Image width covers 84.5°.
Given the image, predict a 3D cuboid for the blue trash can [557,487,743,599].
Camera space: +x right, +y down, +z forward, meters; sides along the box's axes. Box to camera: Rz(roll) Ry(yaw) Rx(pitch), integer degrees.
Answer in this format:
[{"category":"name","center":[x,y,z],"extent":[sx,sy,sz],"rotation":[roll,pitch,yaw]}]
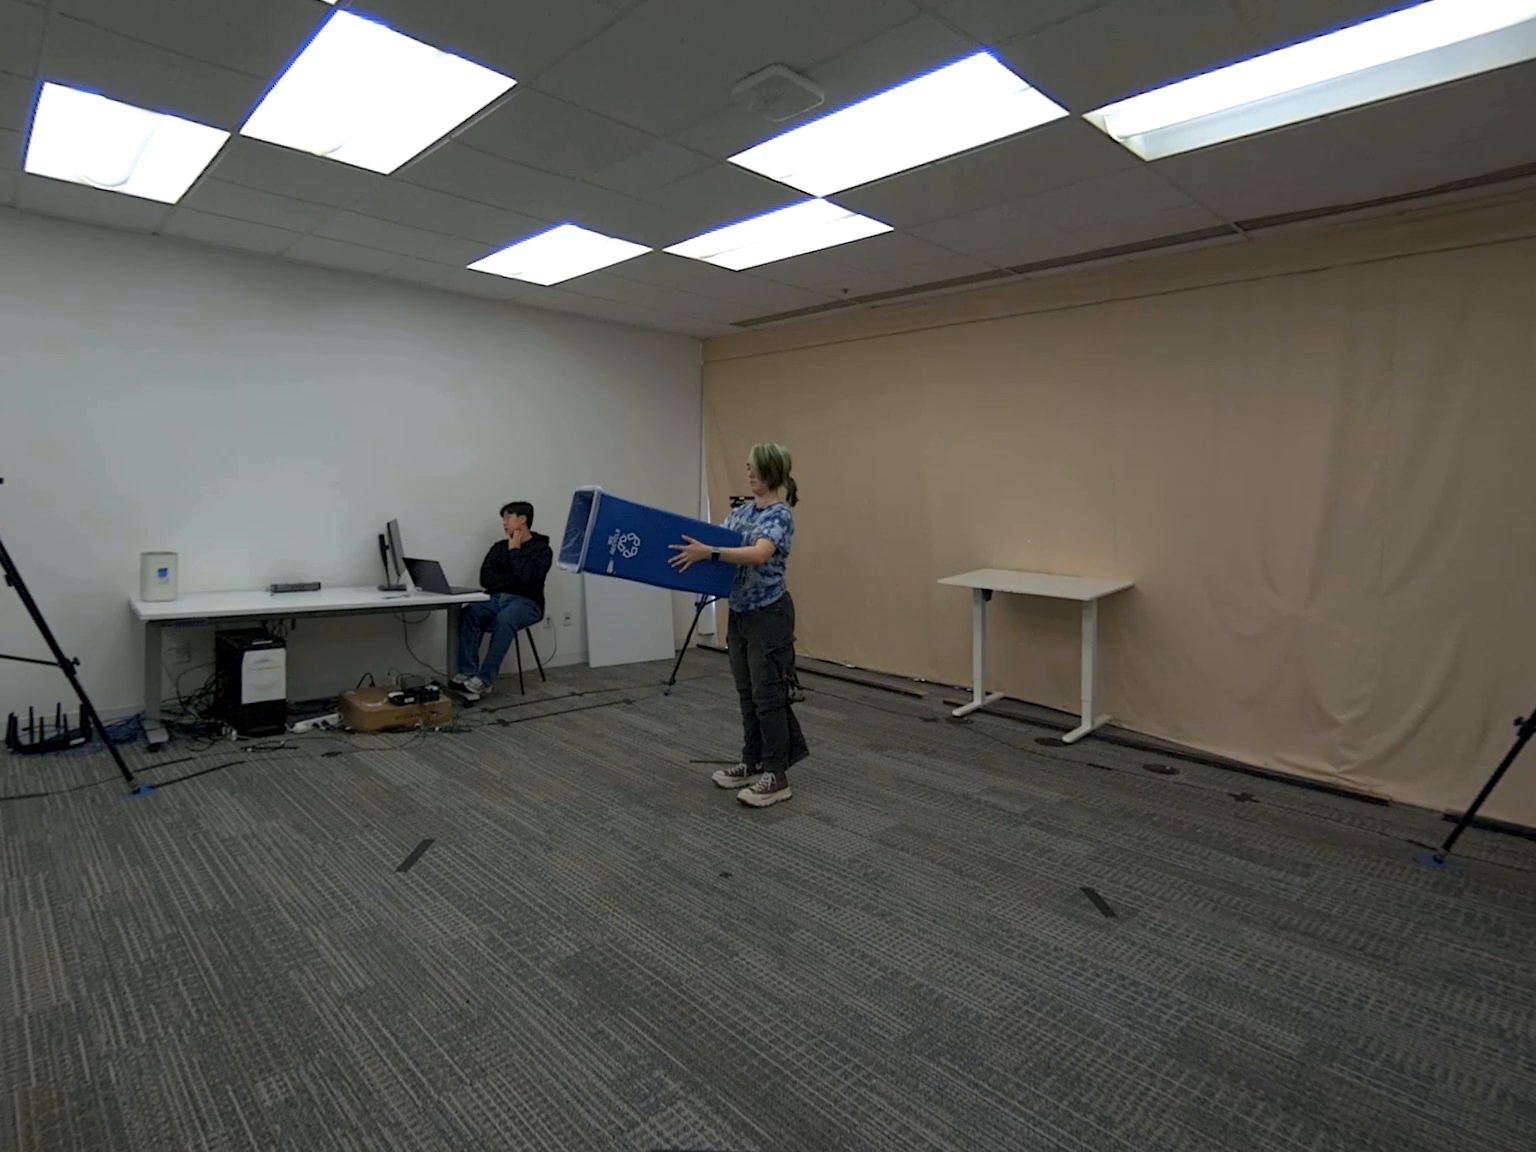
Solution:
[{"category":"blue trash can","center":[-0.527,-0.138,3.728],"extent":[0.698,0.375,0.386],"rotation":[13,-3,-27]}]
